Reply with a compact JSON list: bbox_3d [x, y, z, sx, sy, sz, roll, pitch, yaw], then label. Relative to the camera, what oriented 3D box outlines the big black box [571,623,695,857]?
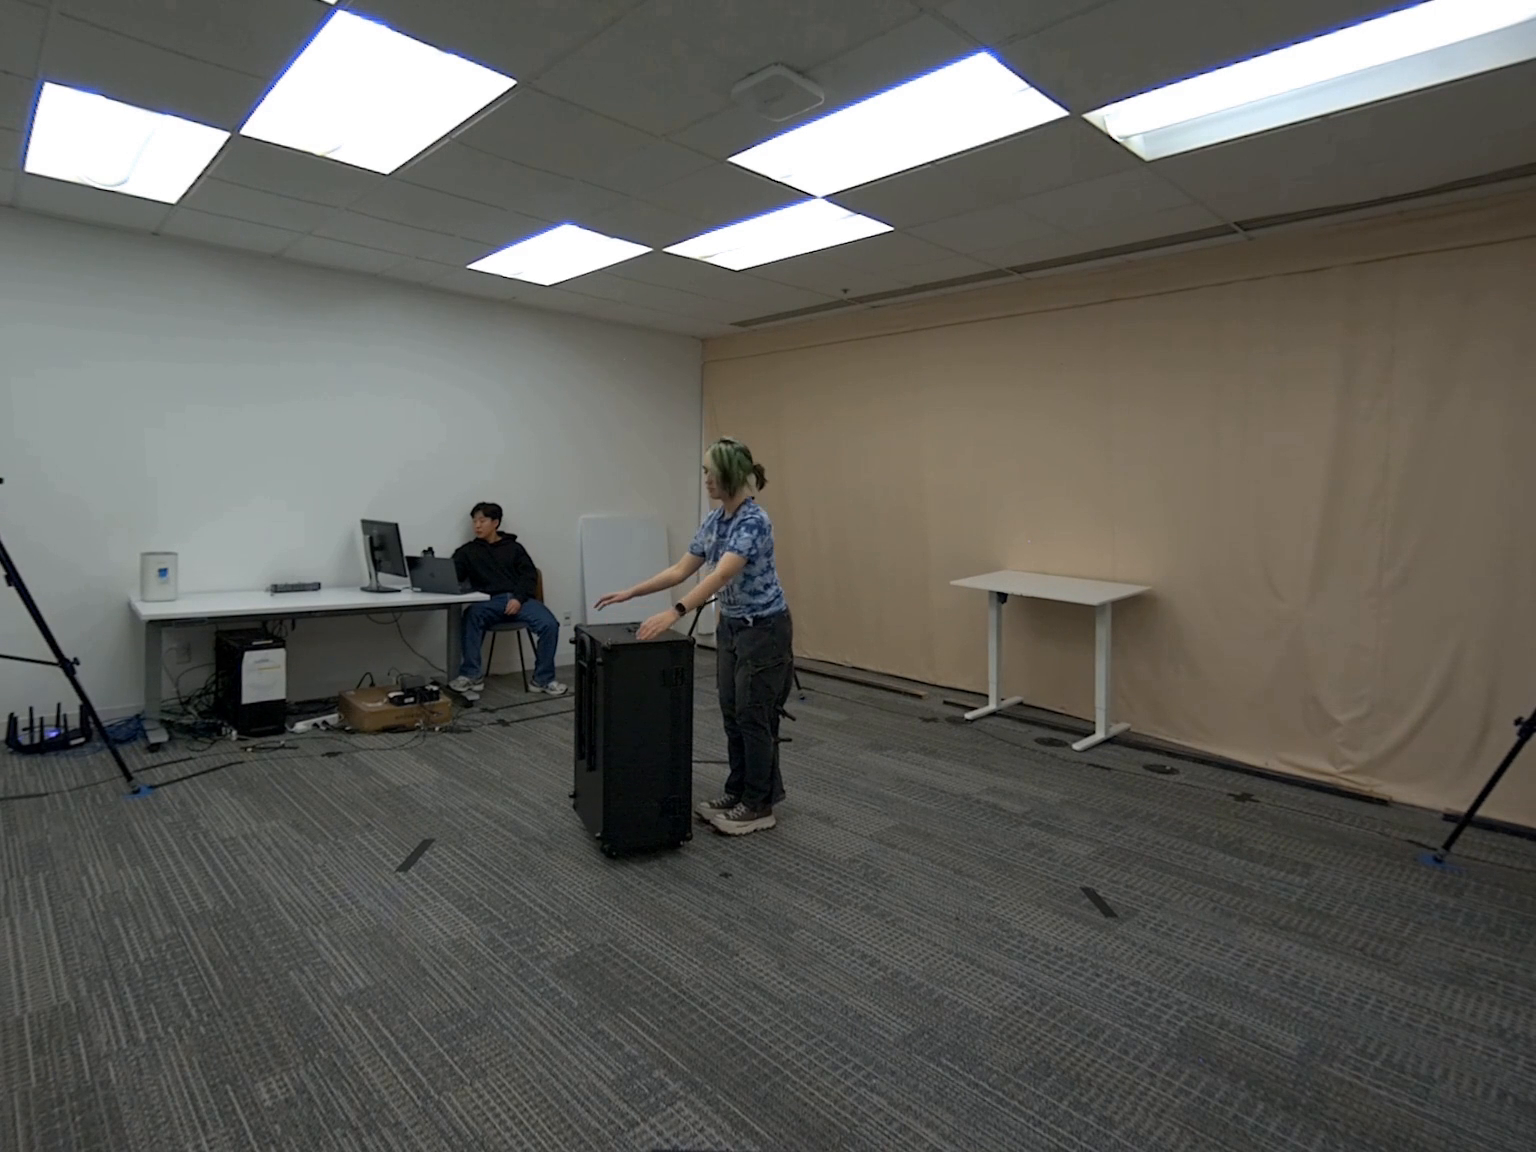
[{"bbox_3d":[-0.561,0.589,3.365,0.389,0.859,0.532,0,4,-25],"label":"big black box"}]
